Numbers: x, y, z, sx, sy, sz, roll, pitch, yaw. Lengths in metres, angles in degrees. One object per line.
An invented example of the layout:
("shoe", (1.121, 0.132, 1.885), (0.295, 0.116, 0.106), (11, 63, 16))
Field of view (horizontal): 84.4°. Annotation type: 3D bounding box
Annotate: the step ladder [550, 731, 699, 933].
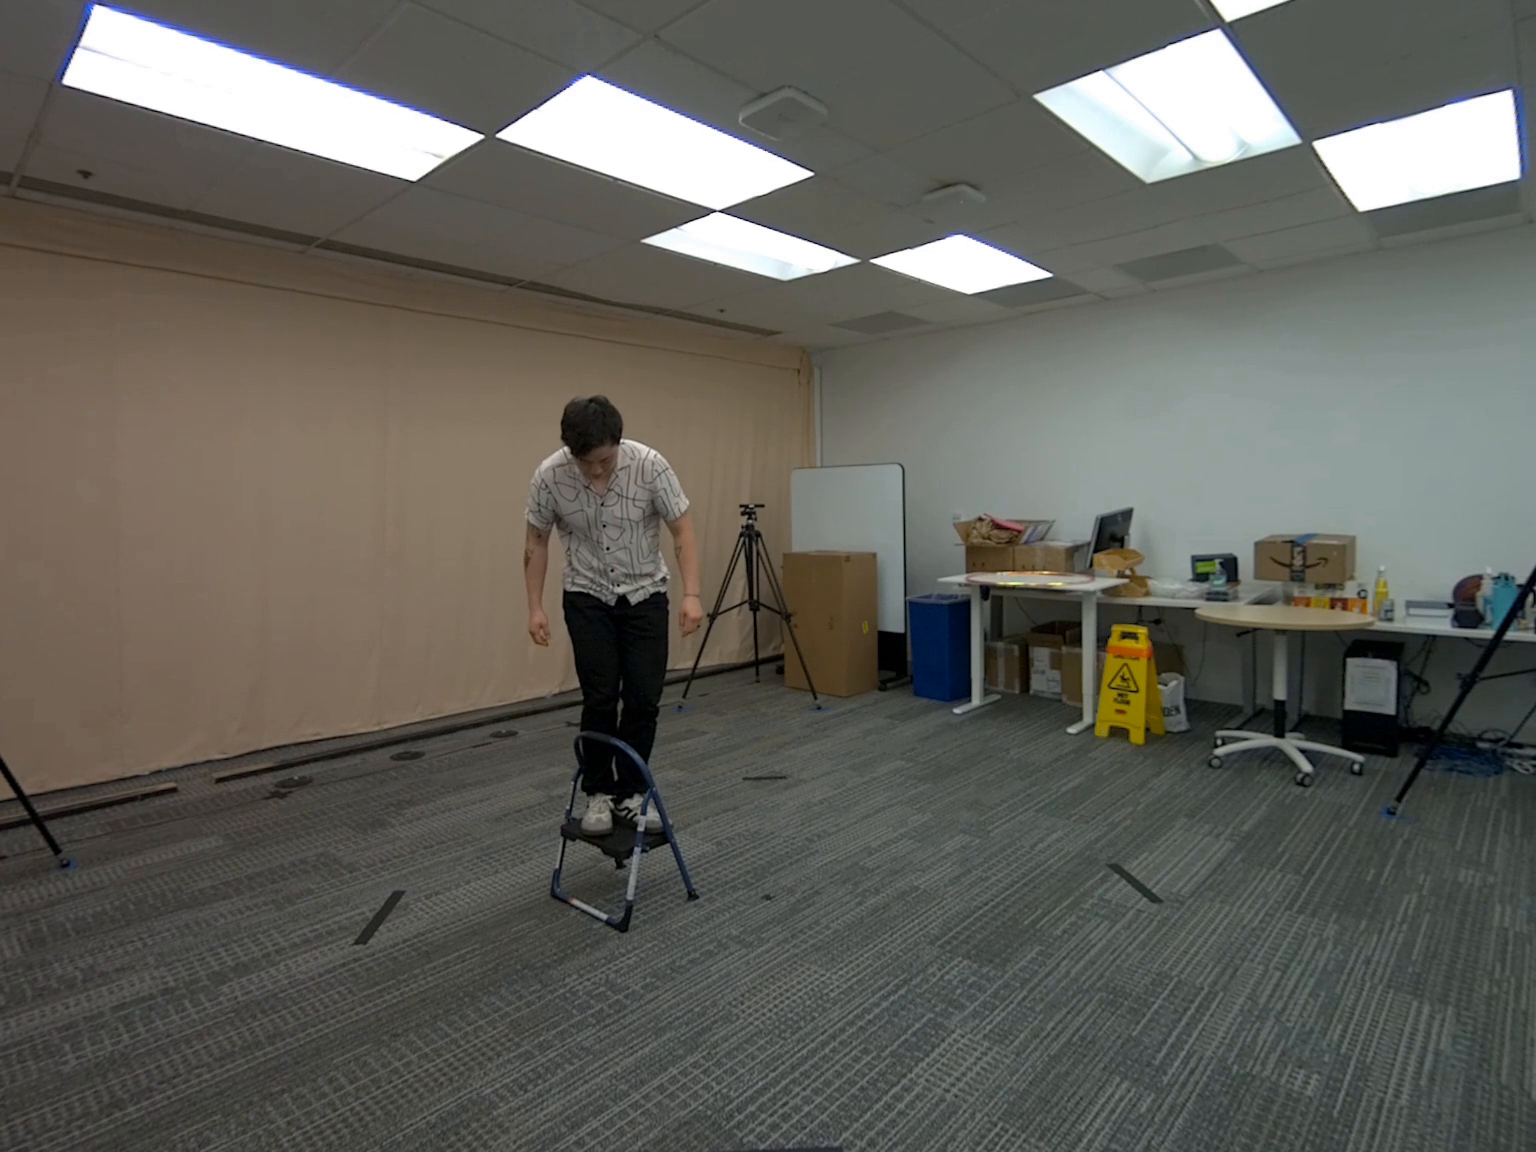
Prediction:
("step ladder", (-0.523, 0.845, 2.999), (0.445, 0.604, 0.339), (2, 5, 41))
